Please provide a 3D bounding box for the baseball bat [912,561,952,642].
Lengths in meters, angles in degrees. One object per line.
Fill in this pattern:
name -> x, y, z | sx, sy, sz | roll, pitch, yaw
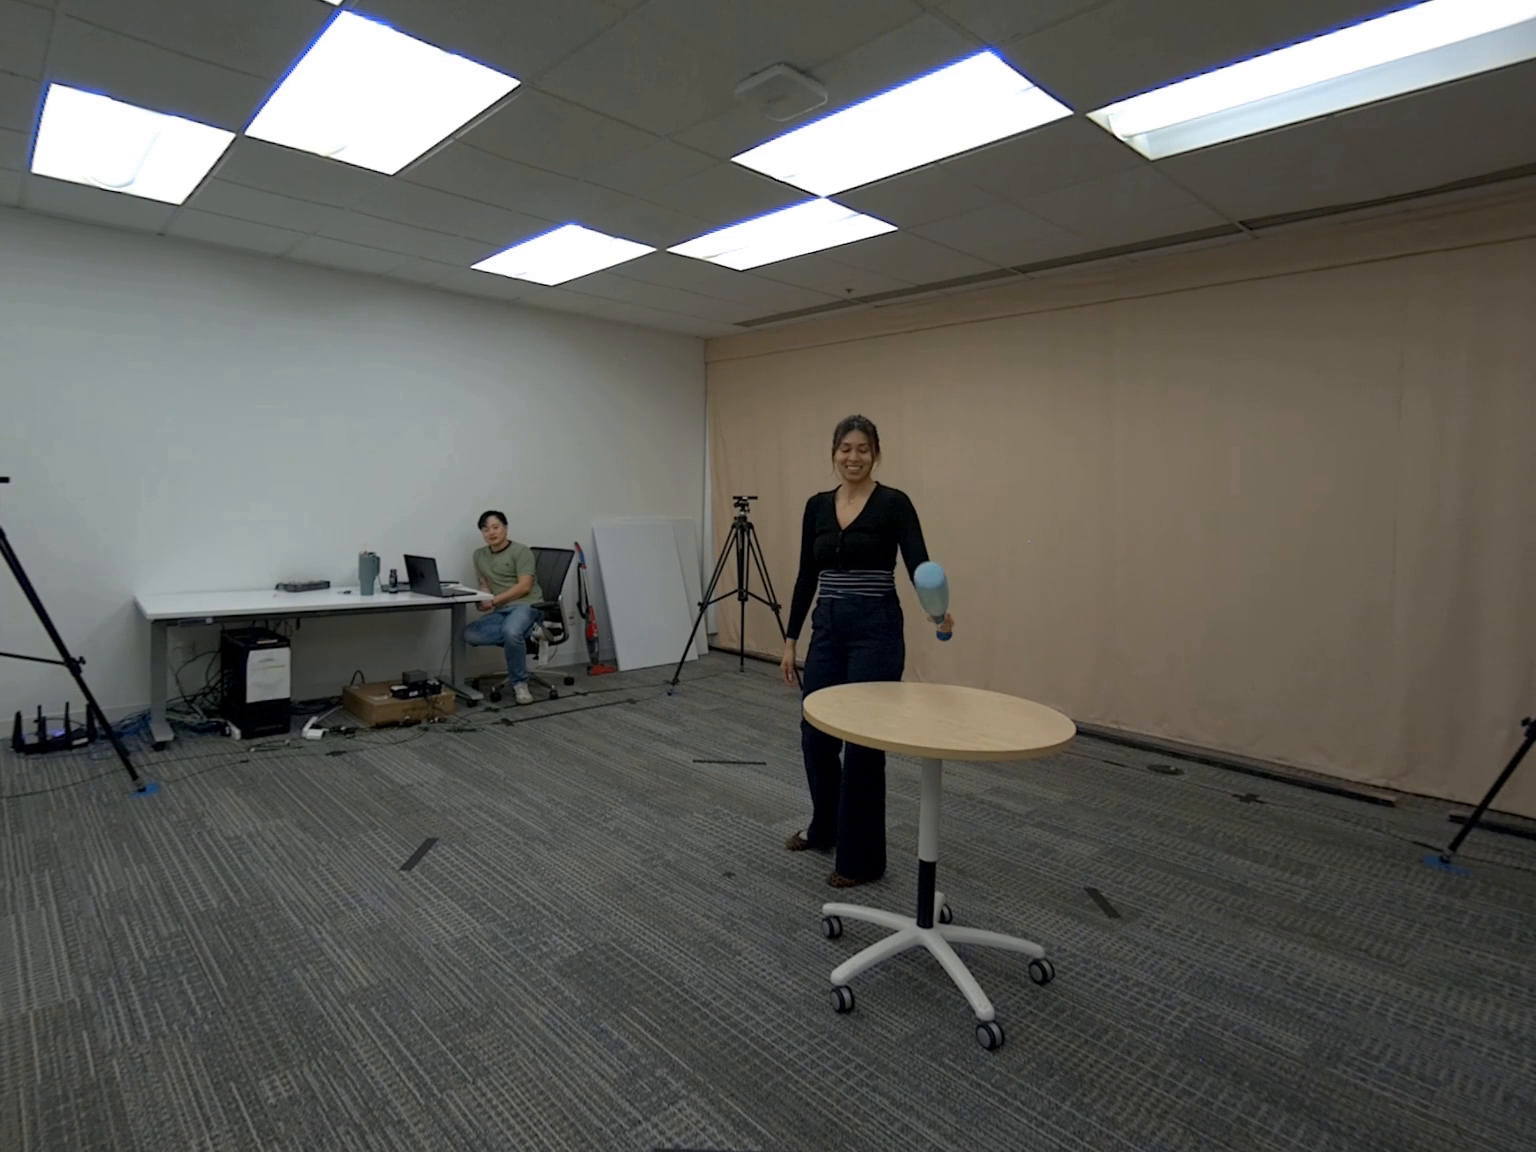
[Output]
baseball bat -> 0.484, 0.089, 2.514 | 0.090, 0.090, 0.529 | 3, -21, 15
